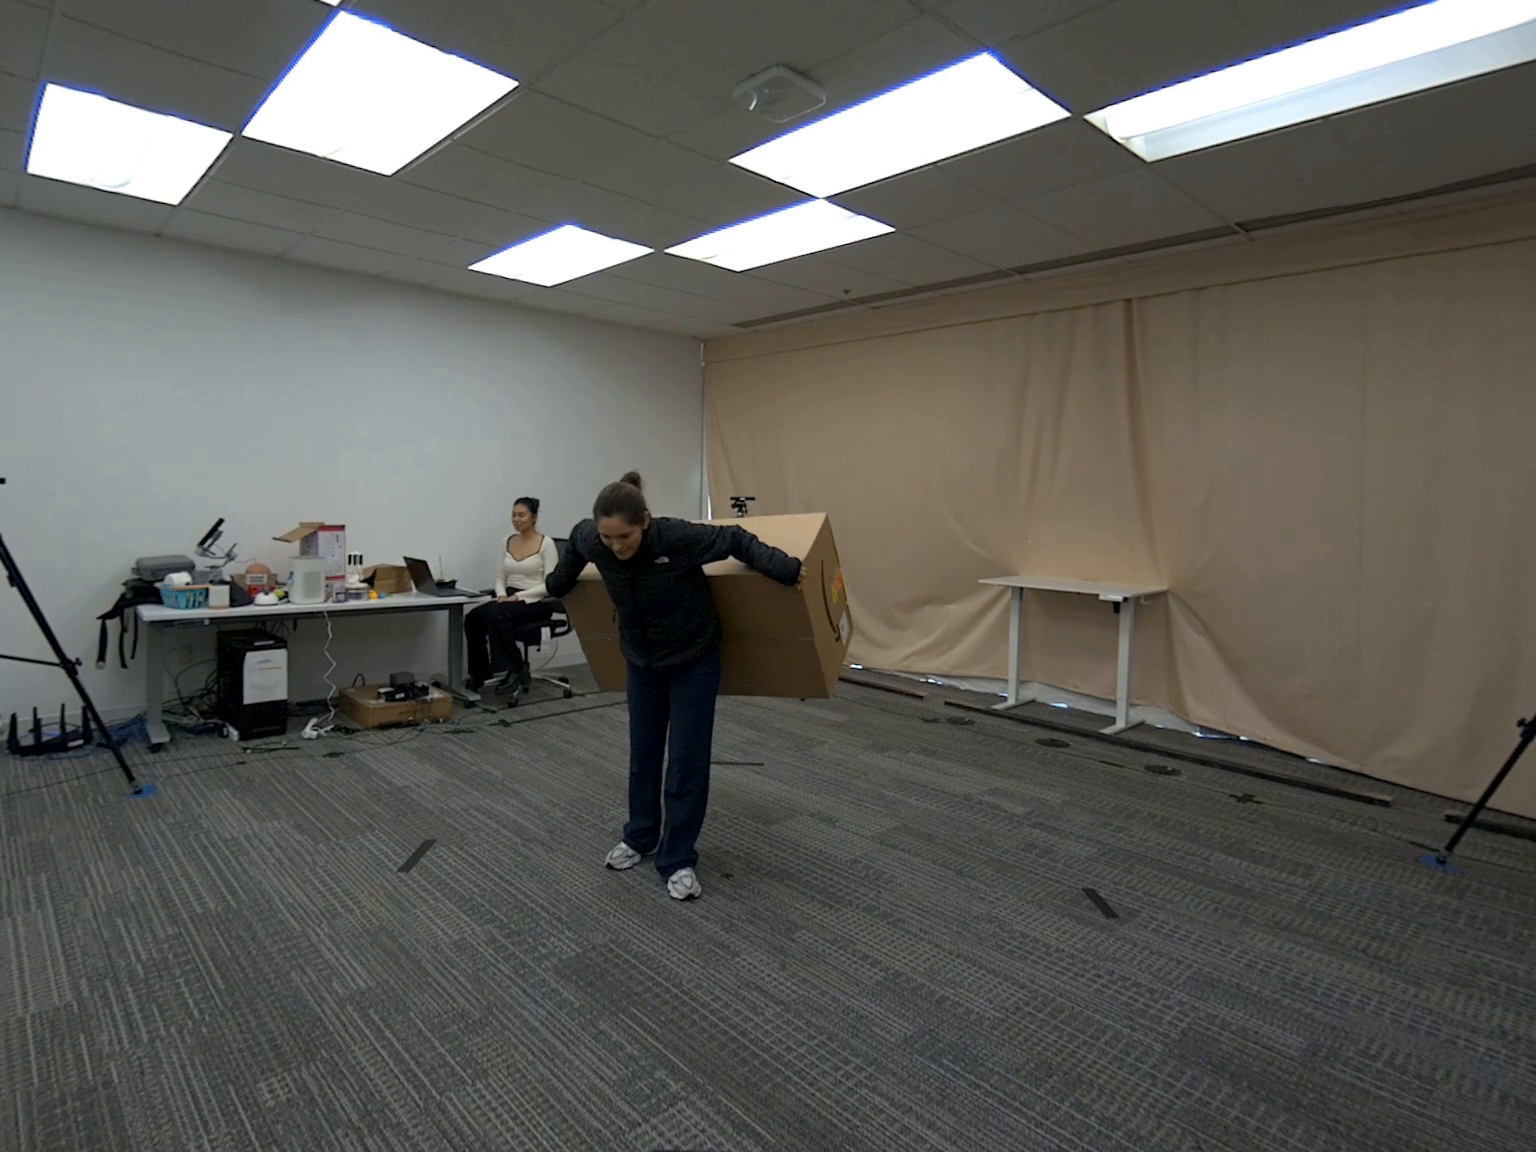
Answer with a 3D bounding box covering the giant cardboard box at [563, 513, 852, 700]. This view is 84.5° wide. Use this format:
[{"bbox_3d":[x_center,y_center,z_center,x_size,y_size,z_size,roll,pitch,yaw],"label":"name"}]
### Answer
[{"bbox_3d":[-0.239,0.122,3.380,1.043,0.564,0.429,-1,32,24],"label":"giant cardboard box"}]
